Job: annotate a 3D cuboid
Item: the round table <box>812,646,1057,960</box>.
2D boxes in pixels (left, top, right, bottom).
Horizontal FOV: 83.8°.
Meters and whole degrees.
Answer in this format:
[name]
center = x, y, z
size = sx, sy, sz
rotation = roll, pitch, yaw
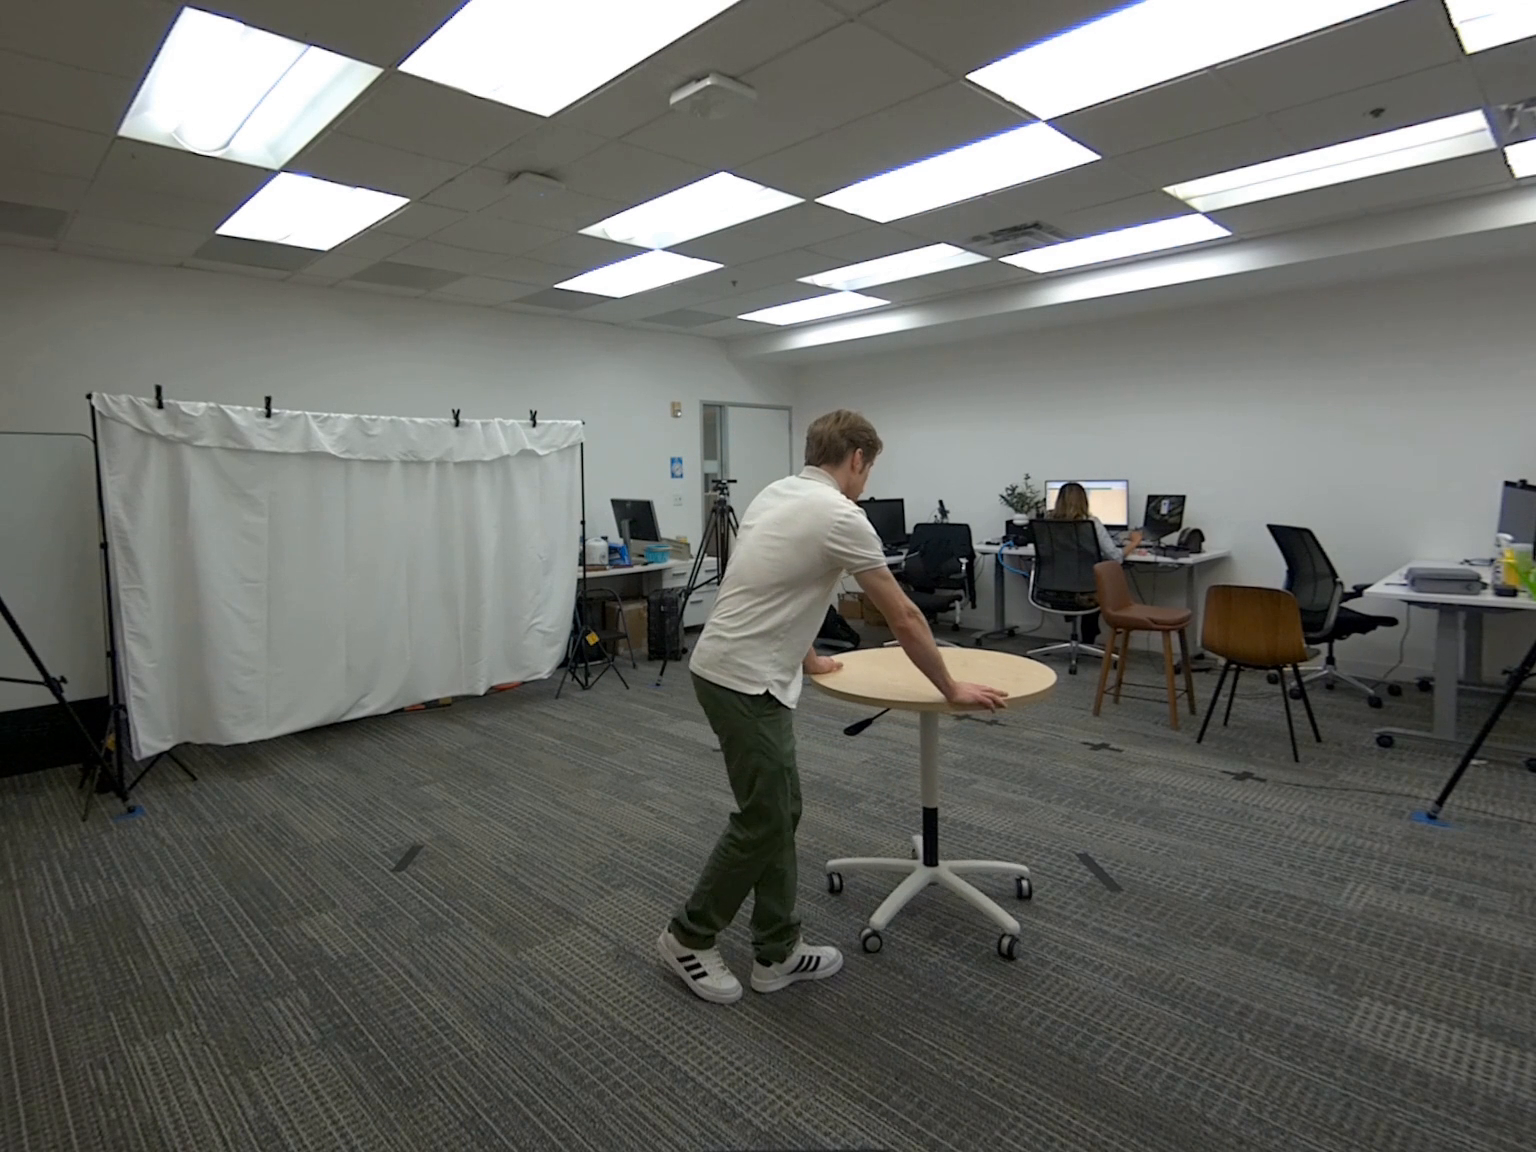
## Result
[round table]
center = 0.528, 0.693, 2.758
size = 0.763, 0.791, 0.768
rotation = -2, 5, -2
